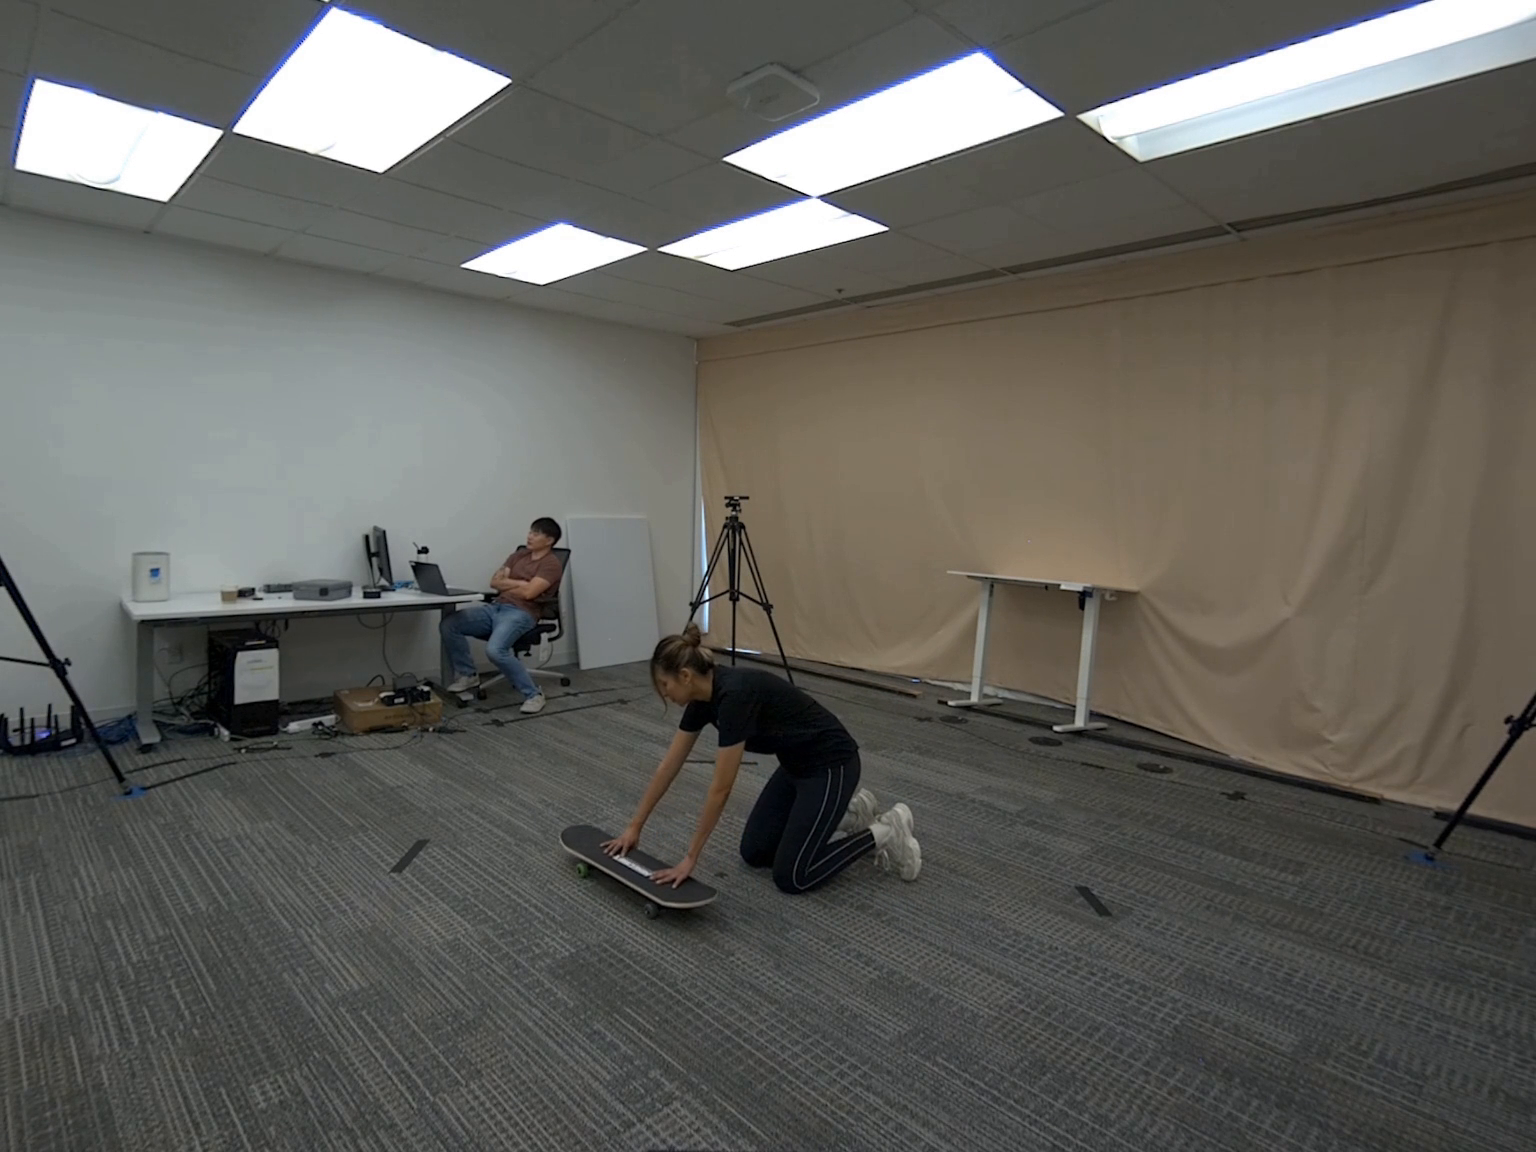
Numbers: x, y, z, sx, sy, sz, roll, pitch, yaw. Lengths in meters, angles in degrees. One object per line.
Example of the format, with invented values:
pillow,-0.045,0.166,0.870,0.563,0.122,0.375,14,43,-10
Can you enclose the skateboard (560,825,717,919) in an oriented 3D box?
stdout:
skateboard,-0.481,1.050,2.976,0.189,0.110,0.806,-4,8,-45
